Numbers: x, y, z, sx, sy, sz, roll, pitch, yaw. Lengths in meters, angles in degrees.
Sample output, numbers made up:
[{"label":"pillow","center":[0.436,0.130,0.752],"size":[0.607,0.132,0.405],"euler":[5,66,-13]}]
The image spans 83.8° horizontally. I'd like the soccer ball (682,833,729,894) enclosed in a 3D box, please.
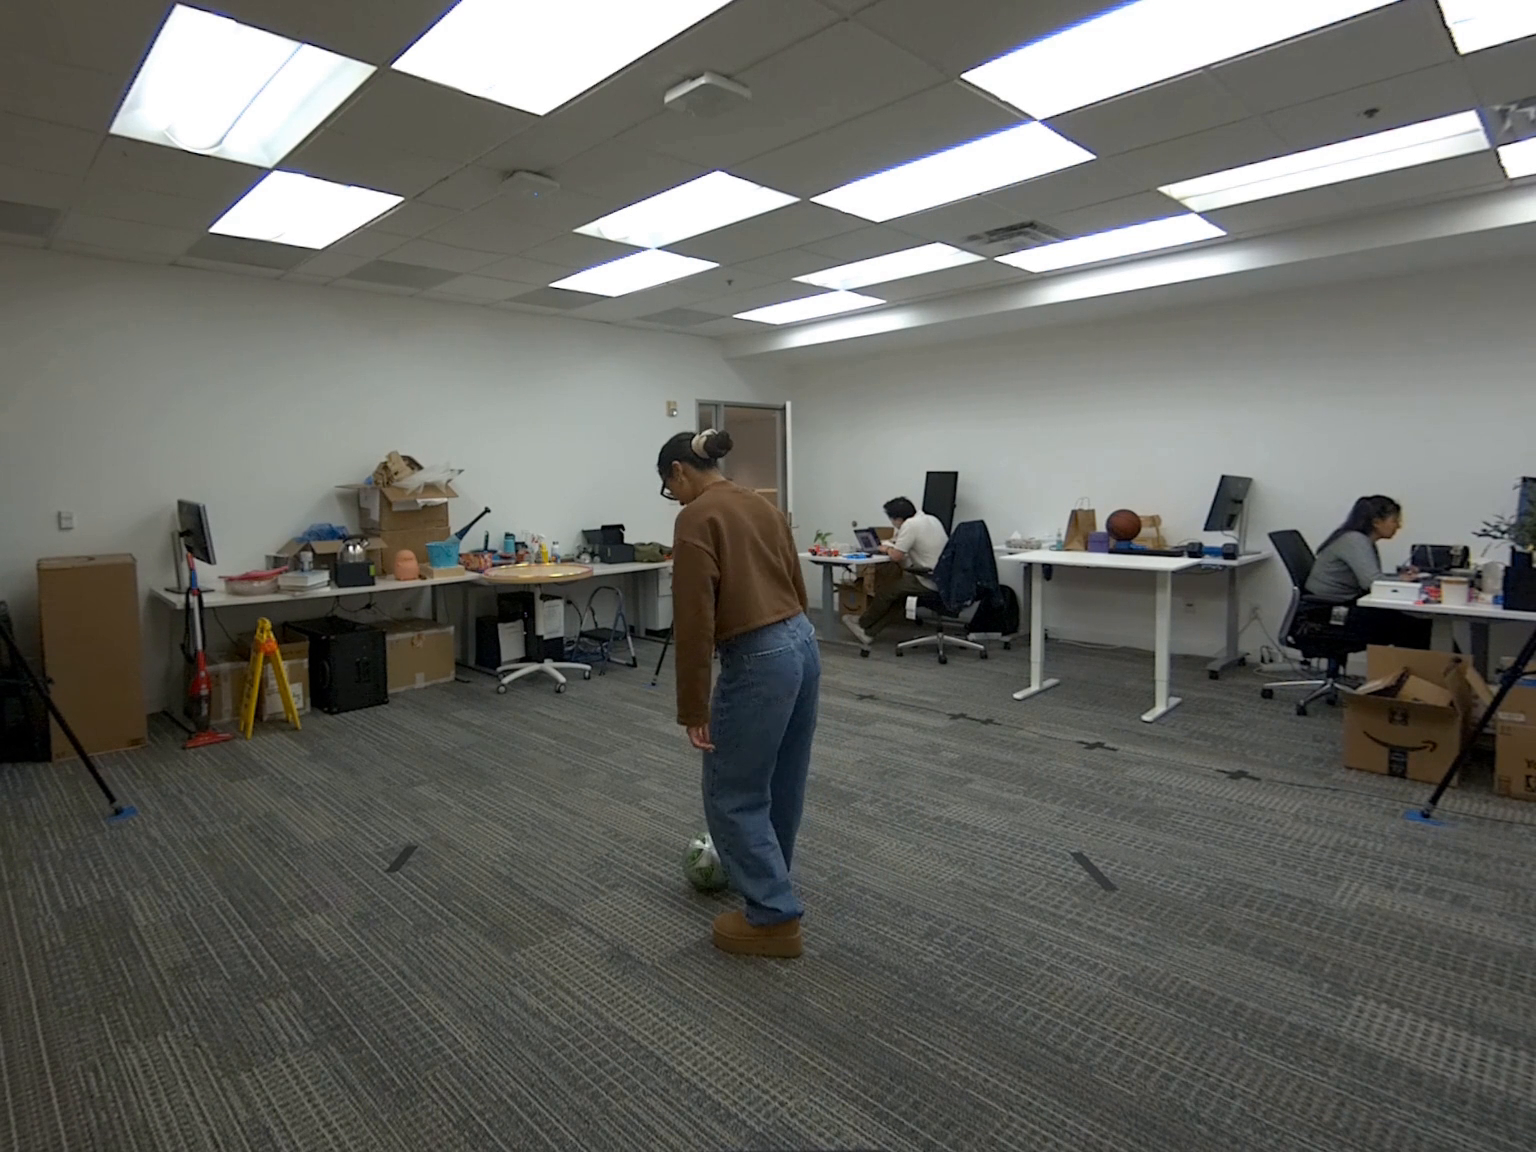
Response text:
[{"label":"soccer ball","center":[-0.193,0.974,2.916],"size":[0.187,0.187,0.188],"euler":[-1,5,-2]}]
